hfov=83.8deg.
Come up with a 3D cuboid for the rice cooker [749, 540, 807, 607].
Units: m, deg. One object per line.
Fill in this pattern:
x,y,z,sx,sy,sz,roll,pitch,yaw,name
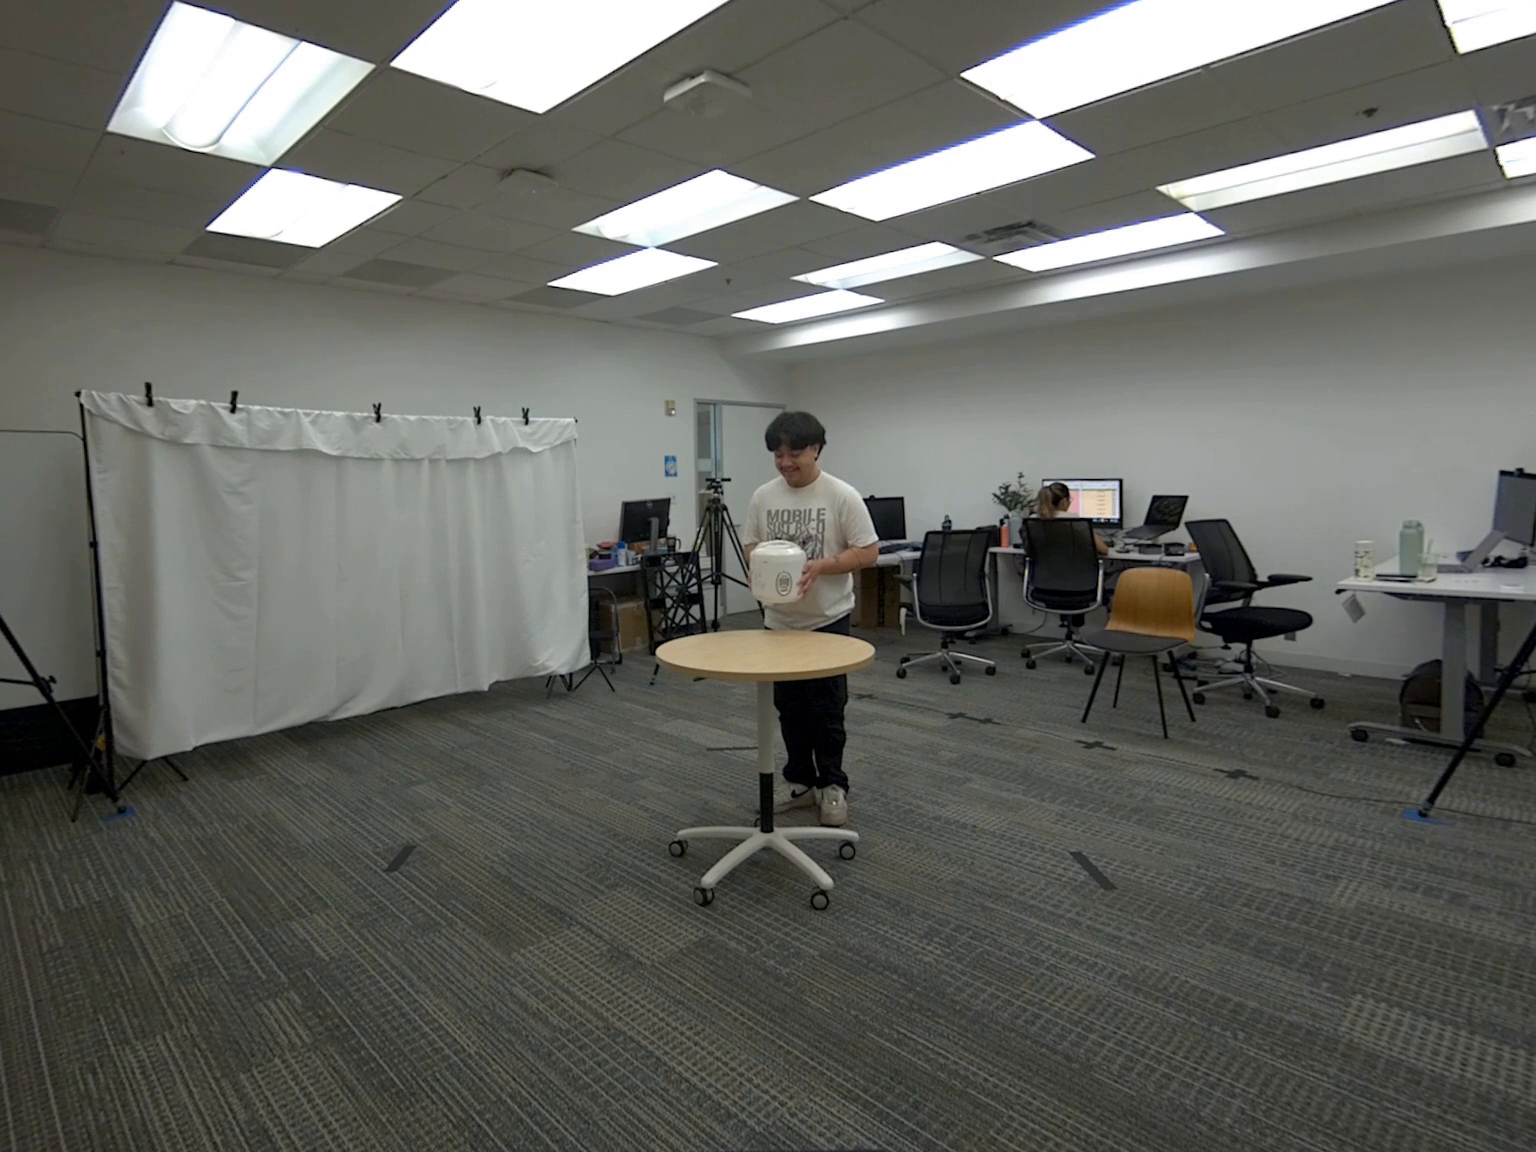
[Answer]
0.037,-0.018,3.291,0.218,0.231,0.221,-3,6,-11,rice cooker
